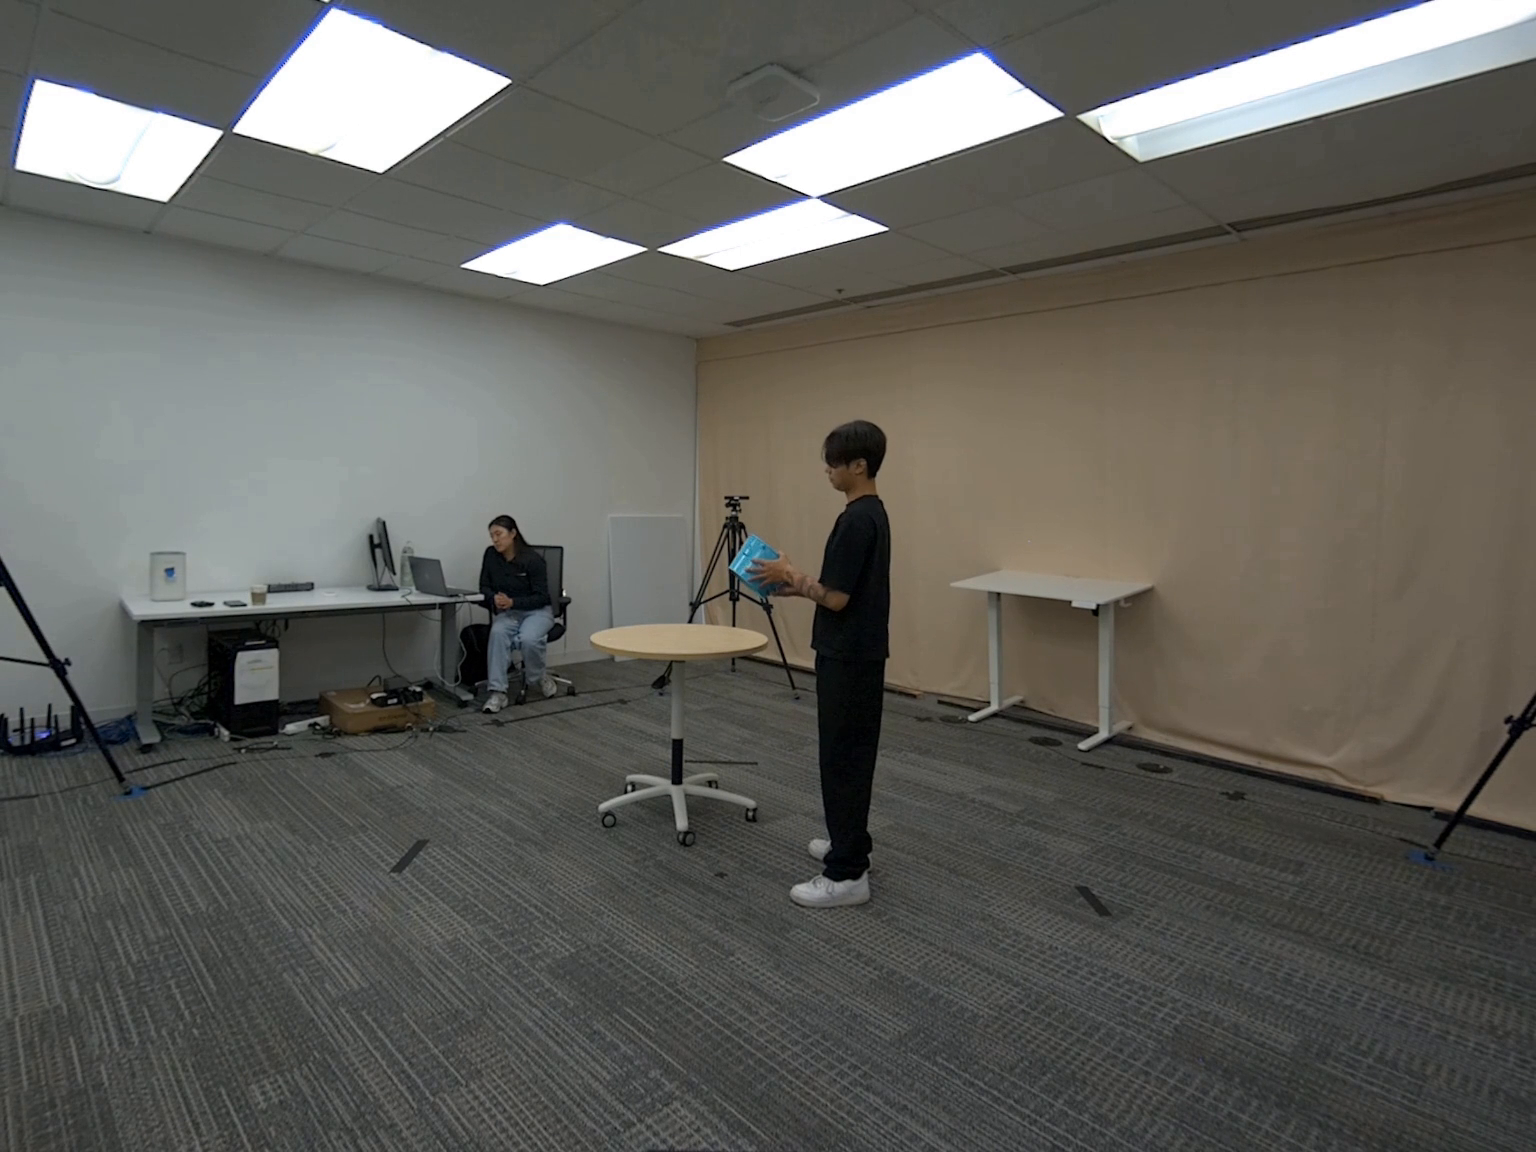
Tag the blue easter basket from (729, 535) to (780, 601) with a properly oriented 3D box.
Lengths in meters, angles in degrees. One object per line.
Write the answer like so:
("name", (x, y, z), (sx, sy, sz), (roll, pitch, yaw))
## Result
("blue easter basket", (-0.034, -0.028, 3.216), (0.245, 0.156, 0.242), (41, -7, 4))
